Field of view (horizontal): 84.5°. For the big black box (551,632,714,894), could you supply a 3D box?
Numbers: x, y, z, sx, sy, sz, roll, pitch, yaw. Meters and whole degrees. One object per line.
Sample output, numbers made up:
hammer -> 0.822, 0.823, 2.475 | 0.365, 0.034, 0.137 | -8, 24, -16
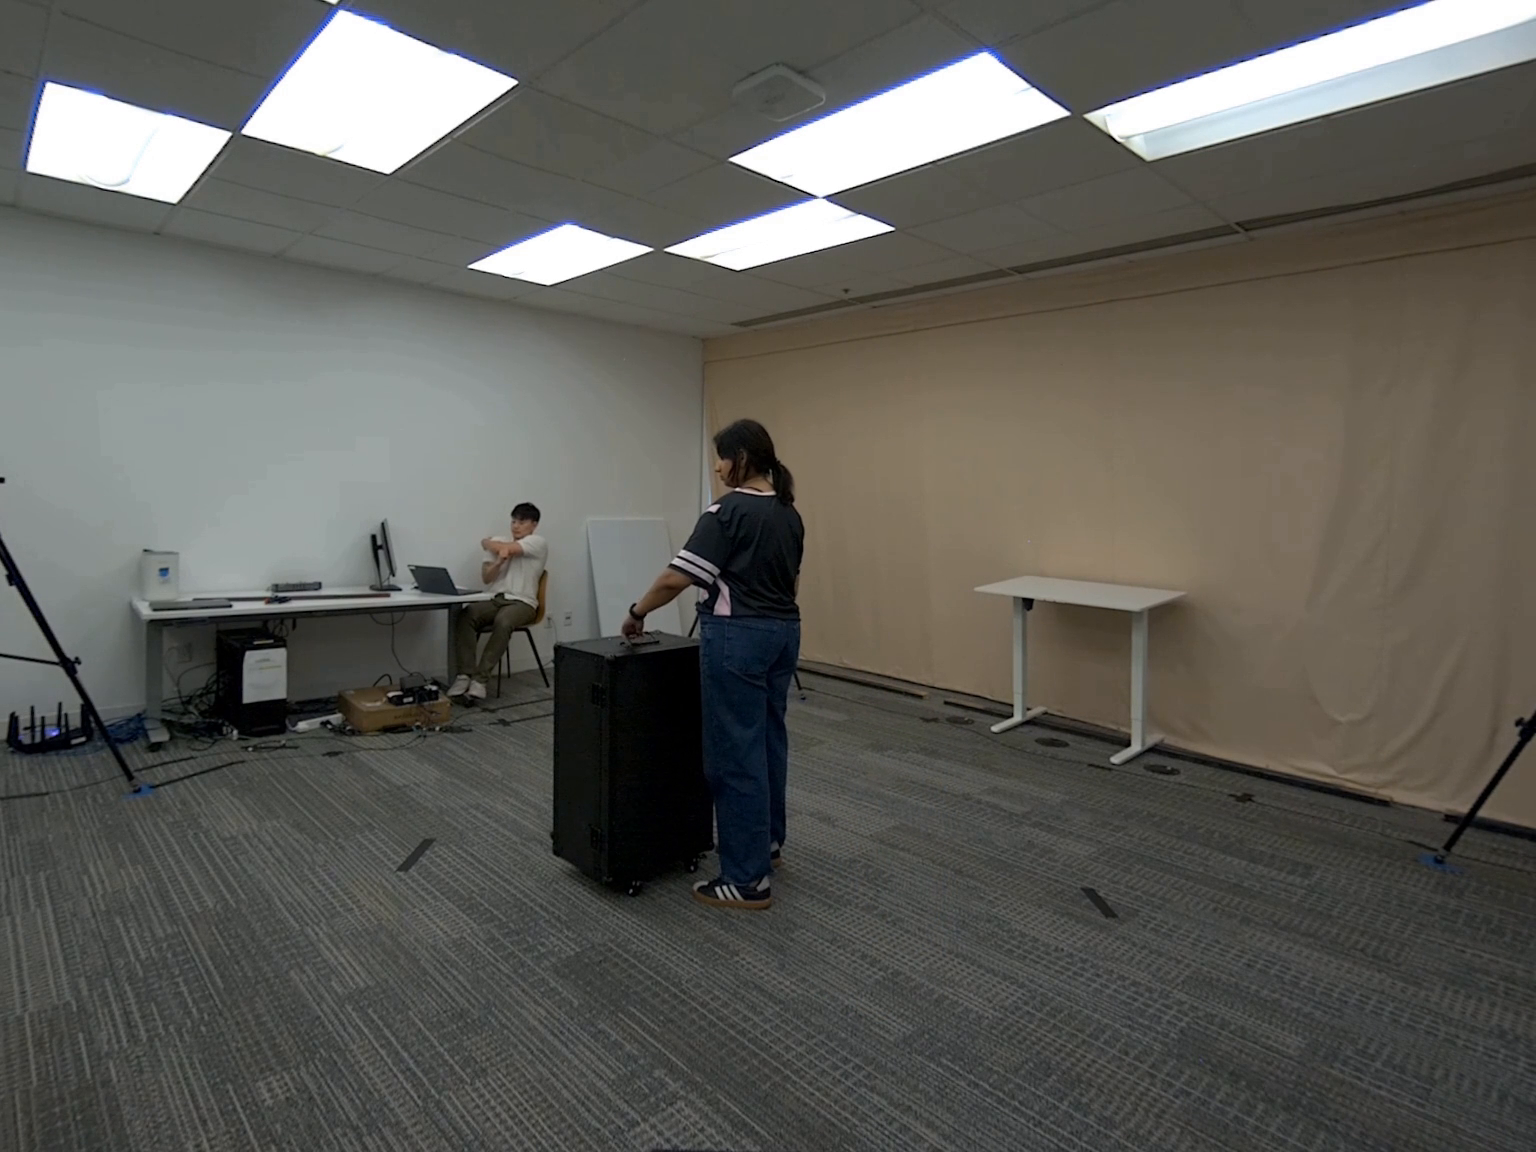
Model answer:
big black box -> -0.506, 0.673, 3.106 | 0.511, 0.867, 0.395 | -2, 4, -45
